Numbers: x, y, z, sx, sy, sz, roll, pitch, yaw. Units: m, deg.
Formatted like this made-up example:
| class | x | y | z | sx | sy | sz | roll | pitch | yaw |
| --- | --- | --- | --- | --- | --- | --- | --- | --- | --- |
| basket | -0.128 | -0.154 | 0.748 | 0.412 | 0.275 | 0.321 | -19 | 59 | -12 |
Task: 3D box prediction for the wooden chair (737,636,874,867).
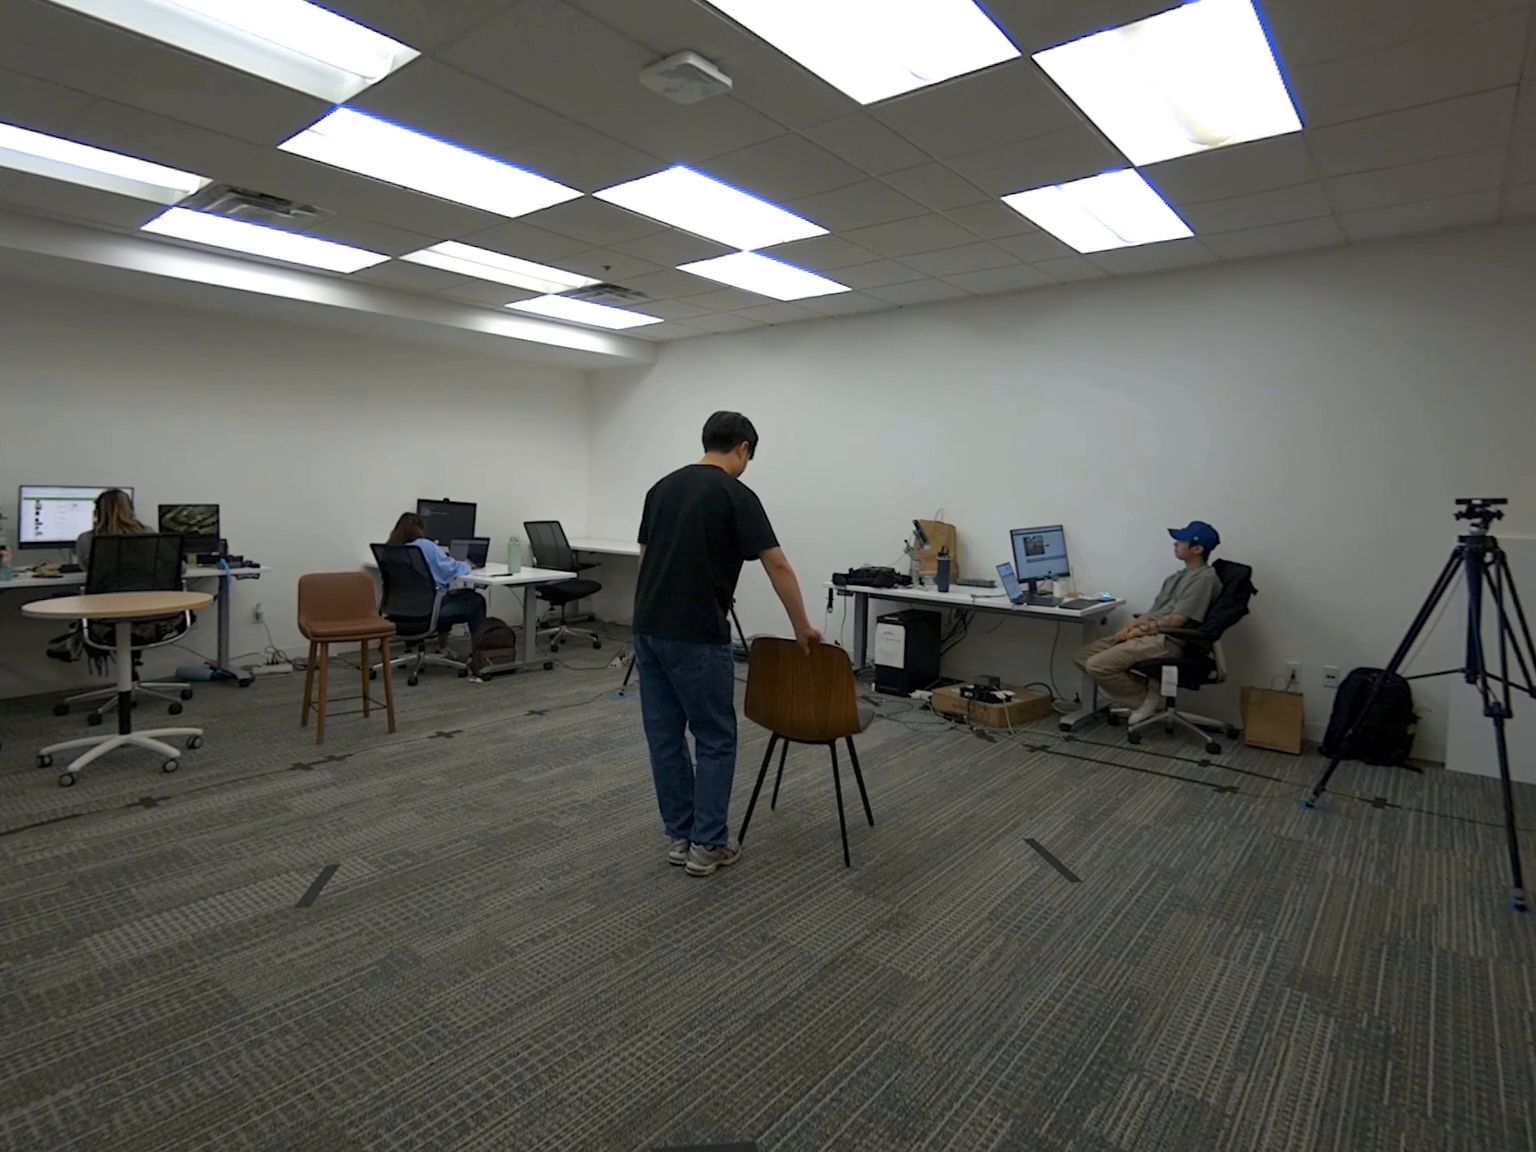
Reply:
| class | x | y | z | sx | sy | sz | roll | pitch | yaw |
| --- | --- | --- | --- | --- | --- | --- | --- | --- | --- |
| wooden chair | 0.165 | 0.622 | 3.414 | 0.489 | 0.871 | 0.515 | 3 | 8 | 21 |
